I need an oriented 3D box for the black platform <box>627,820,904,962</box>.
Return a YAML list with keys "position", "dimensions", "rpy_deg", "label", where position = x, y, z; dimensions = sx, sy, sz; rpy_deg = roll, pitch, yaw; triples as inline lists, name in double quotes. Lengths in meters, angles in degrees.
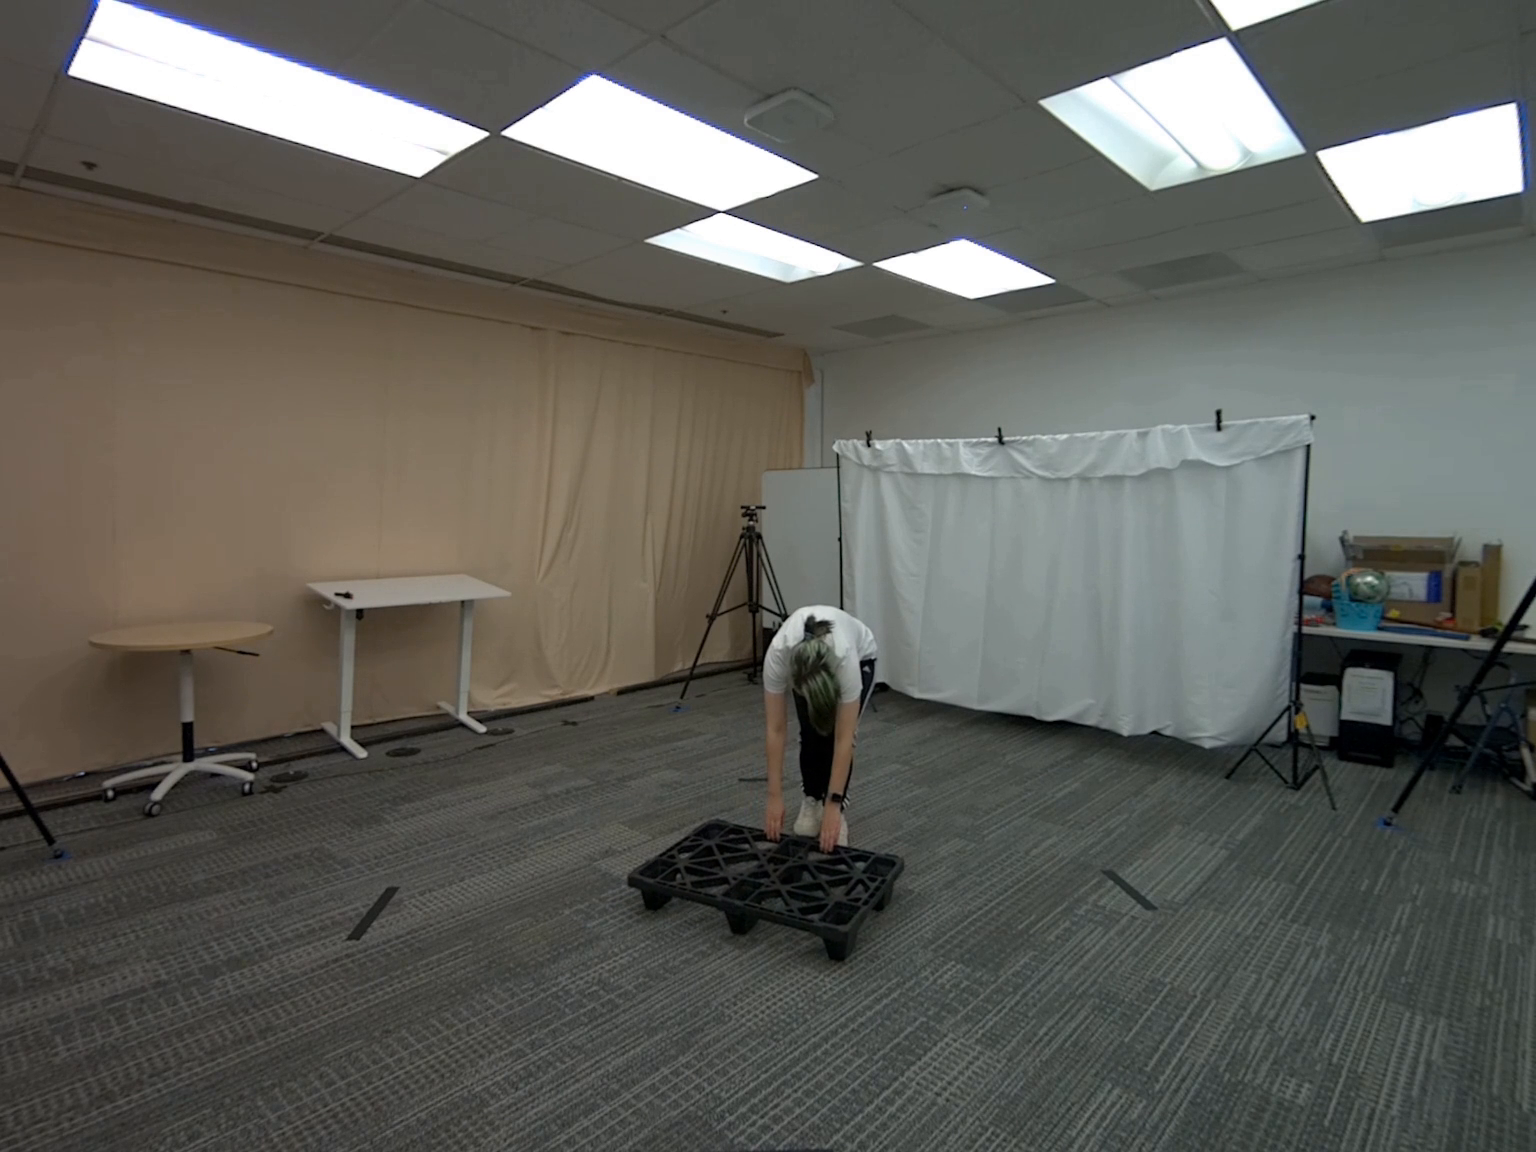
- position: [0.002, 1.079, 2.946]
  dimensions: [0.828, 0.143, 0.590]
  rpy_deg: [3, 5, 28]
  label: "black platform"
